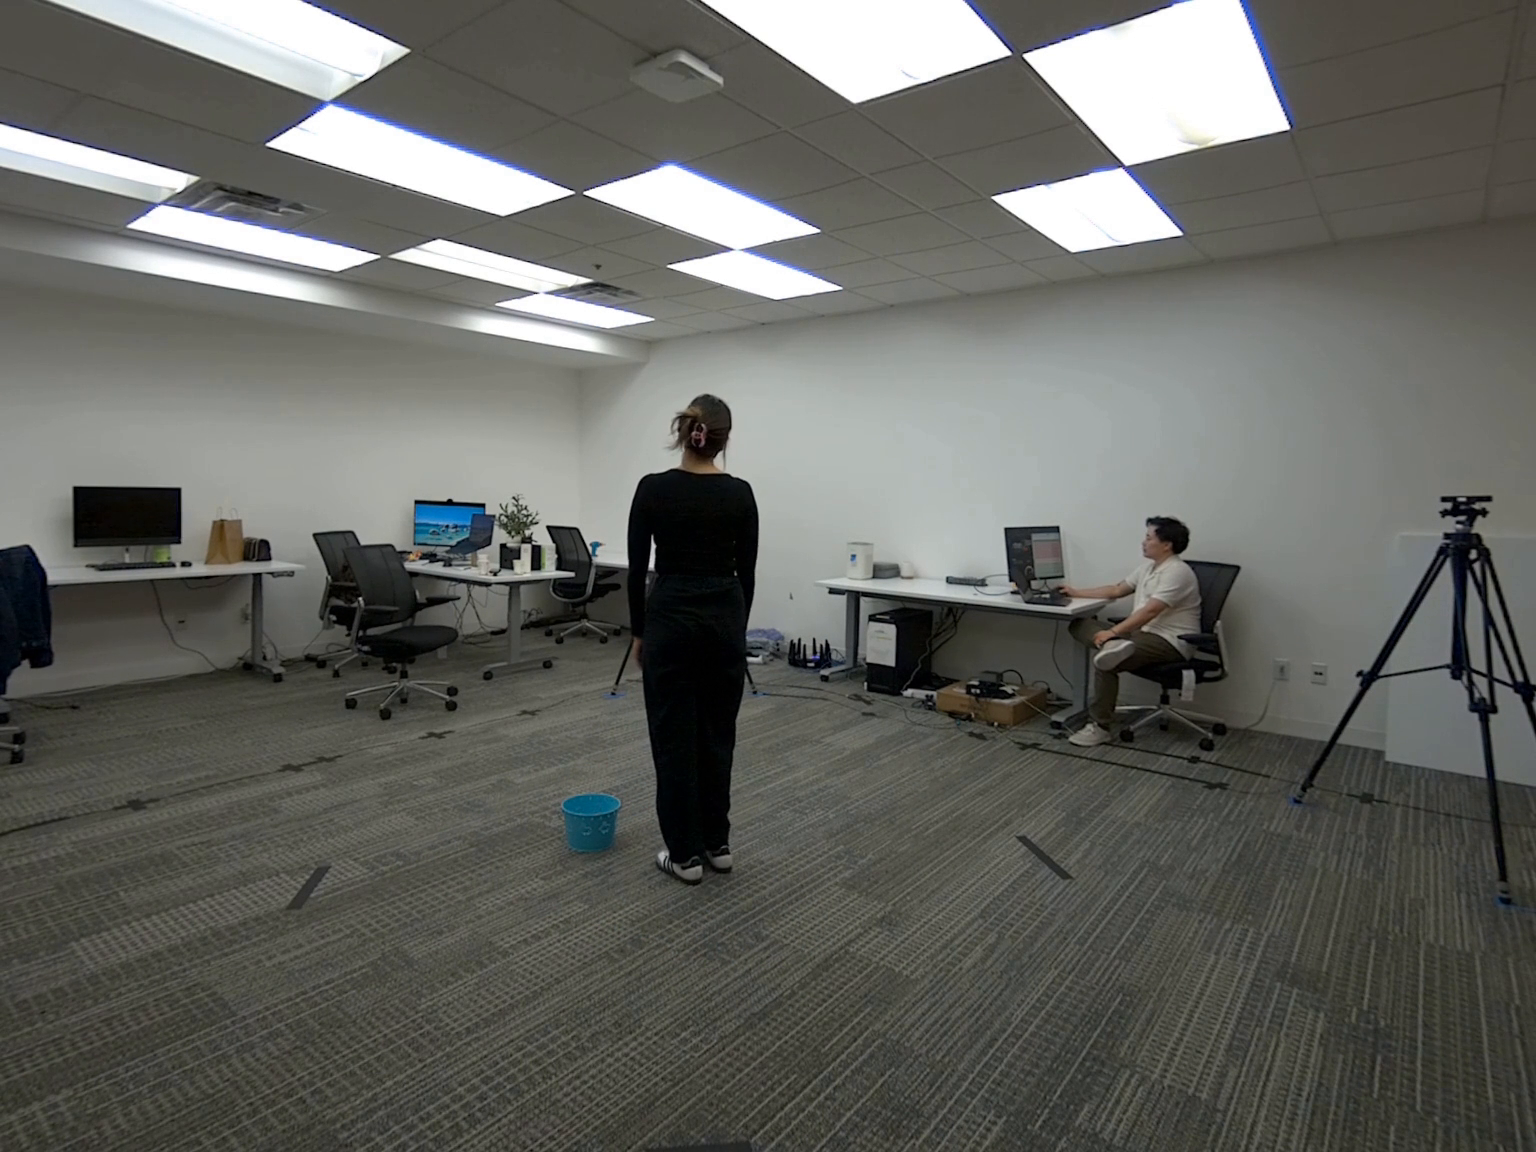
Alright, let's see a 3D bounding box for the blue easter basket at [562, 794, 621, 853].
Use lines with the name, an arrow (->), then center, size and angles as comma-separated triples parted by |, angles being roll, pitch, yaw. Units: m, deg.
blue easter basket -> -0.703, 0.962, 3.327 | 0.243, 0.155, 0.245 | 1, 5, -2
